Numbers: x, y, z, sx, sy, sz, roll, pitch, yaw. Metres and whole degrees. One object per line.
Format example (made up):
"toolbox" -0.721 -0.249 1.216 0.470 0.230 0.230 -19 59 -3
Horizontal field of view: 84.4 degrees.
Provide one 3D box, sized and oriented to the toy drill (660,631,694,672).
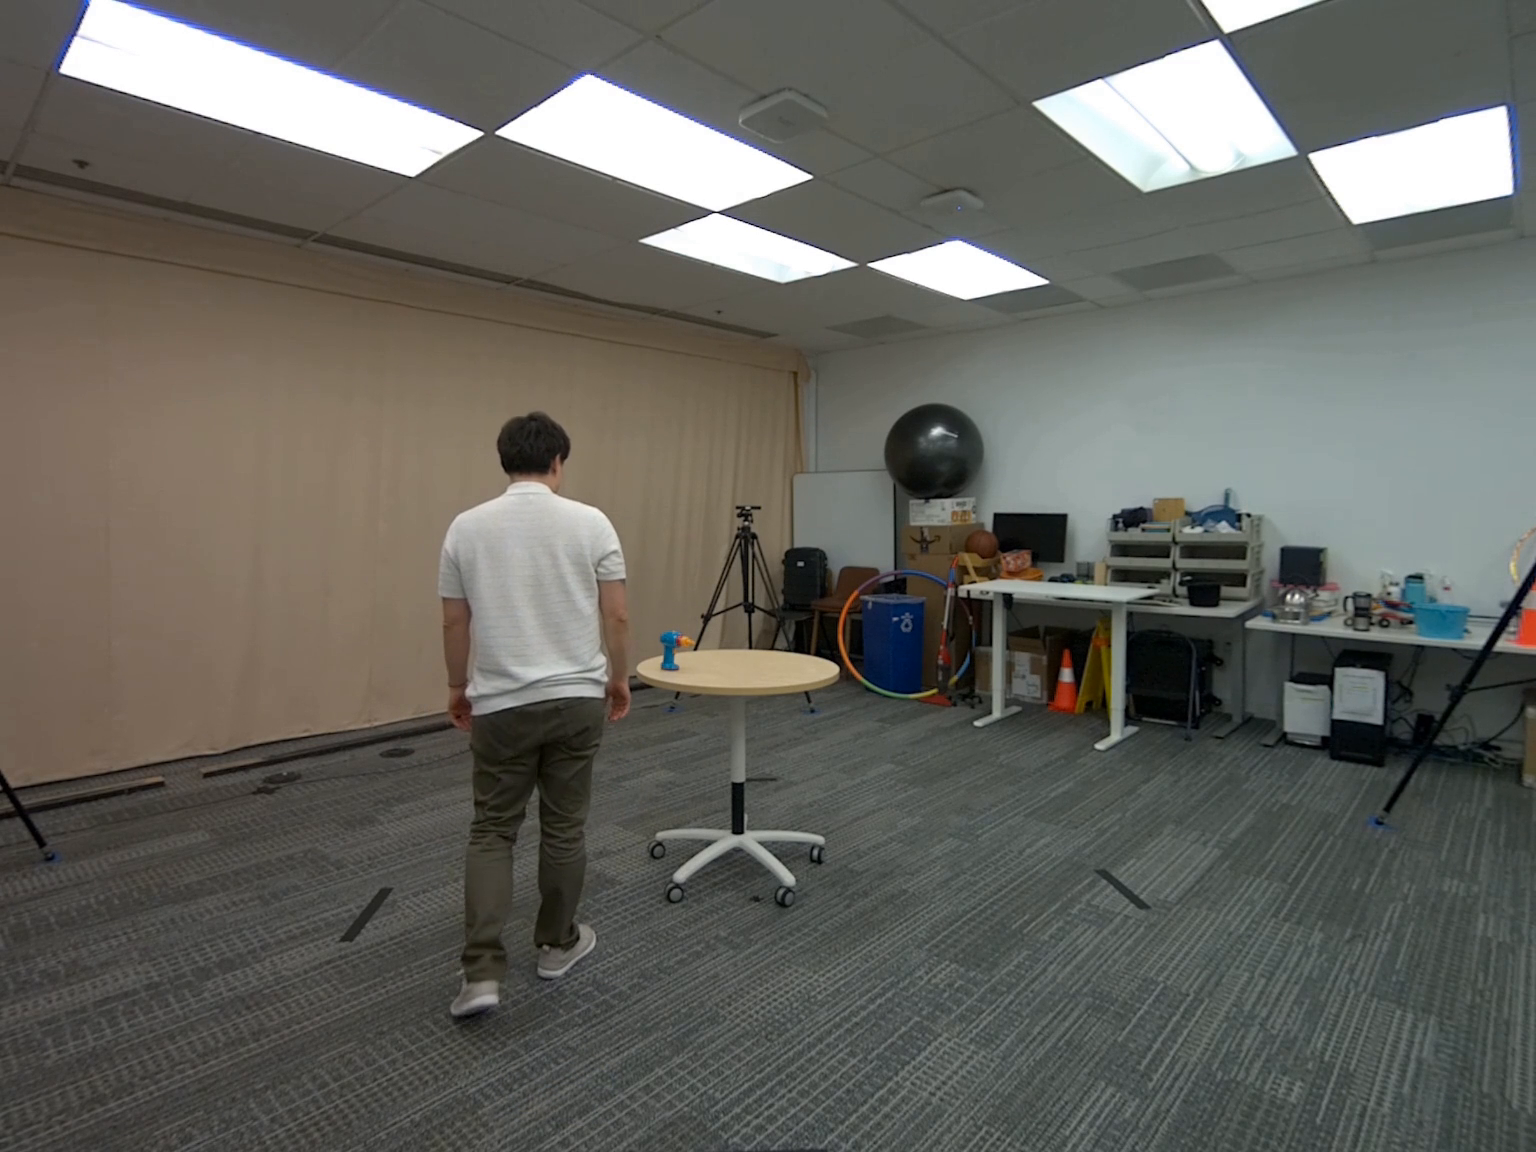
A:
"toy drill" -0.325 0.278 3.107 0.175 0.146 0.059 2 4 36
